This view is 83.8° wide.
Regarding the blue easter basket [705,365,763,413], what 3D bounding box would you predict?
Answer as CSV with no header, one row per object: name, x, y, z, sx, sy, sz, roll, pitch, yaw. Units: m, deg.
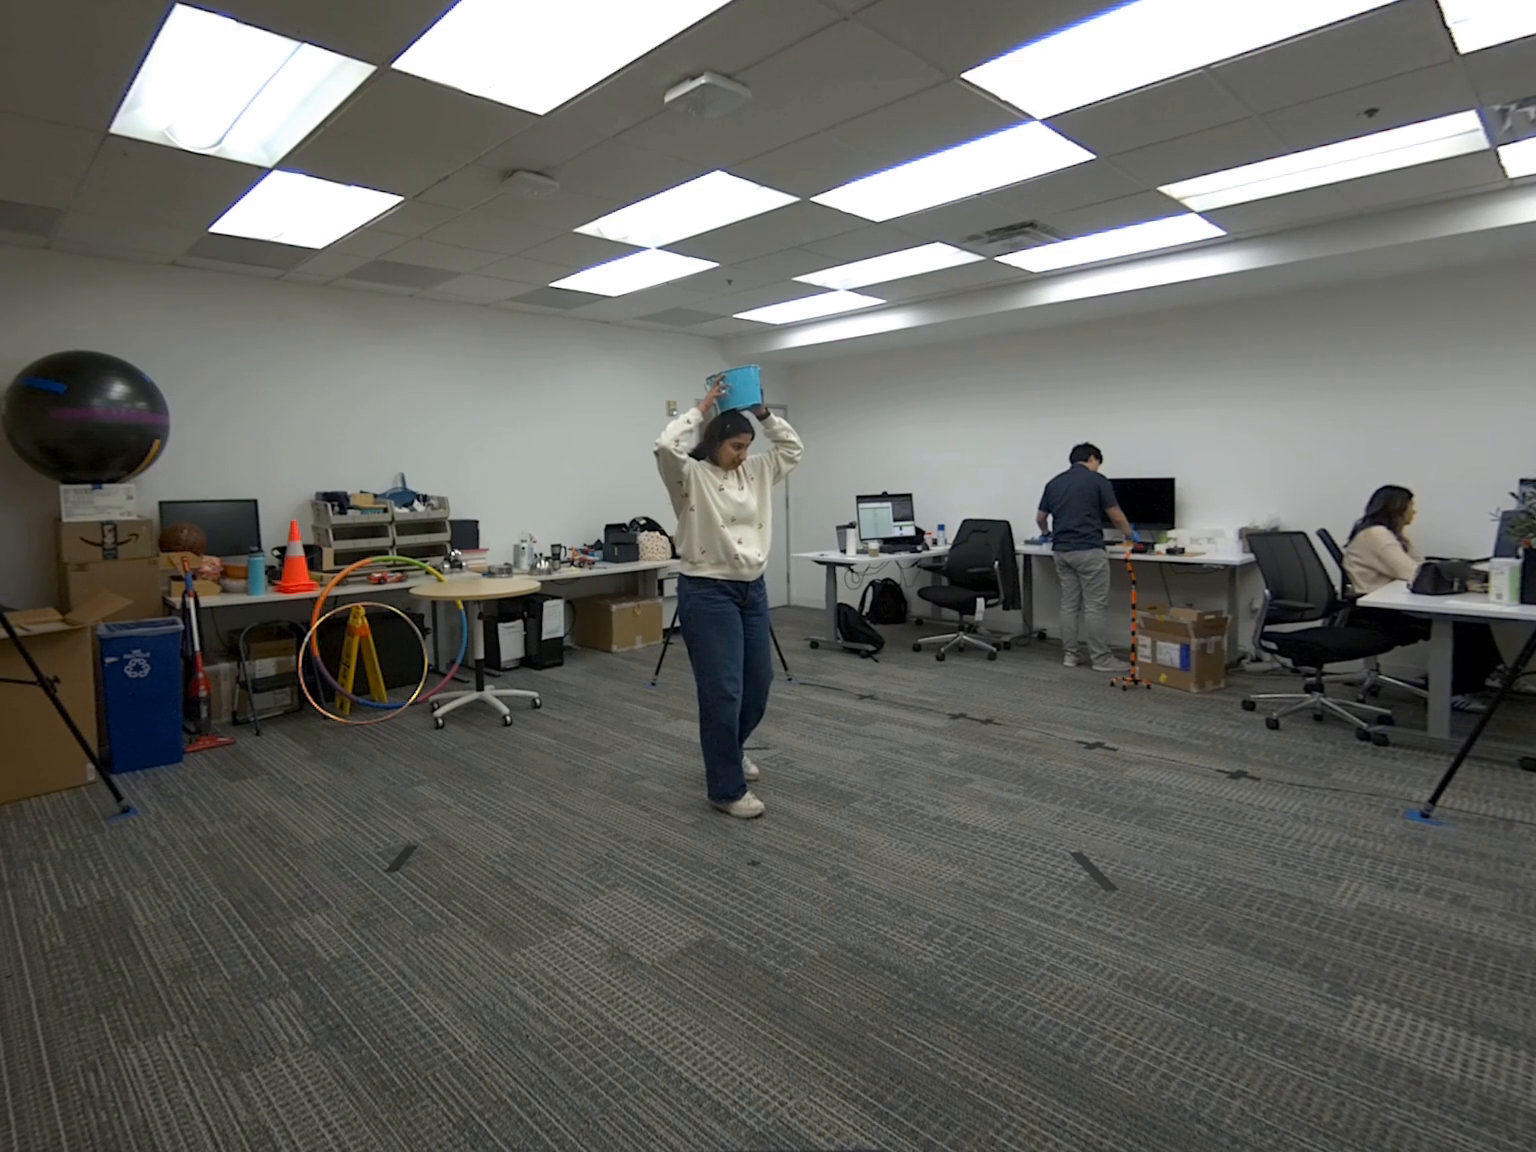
blue easter basket,-0.129,-0.765,3.543,0.243,0.155,0.245,-12,5,-1
